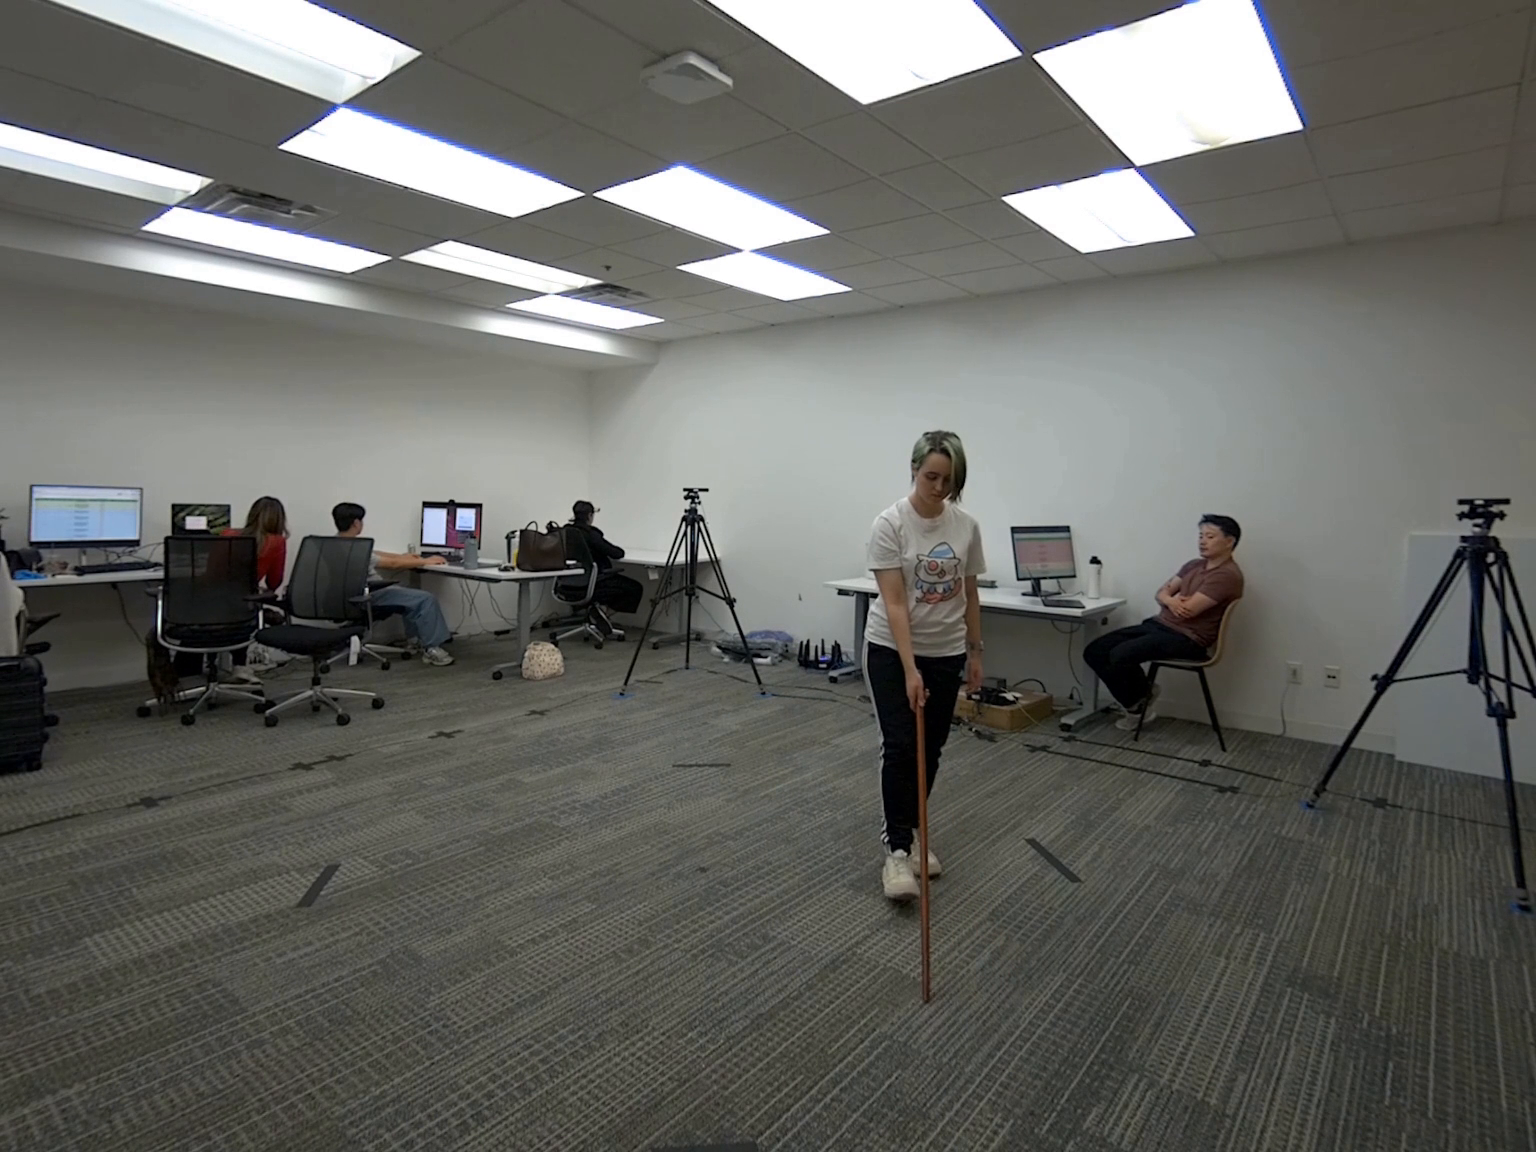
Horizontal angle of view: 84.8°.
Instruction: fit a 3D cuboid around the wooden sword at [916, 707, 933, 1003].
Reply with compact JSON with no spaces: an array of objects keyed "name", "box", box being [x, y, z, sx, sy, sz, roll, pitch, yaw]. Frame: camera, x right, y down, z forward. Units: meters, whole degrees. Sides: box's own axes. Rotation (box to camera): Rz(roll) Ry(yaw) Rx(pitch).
[{"name":"wooden sword","box":[0.491,0.757,2.638,0.052,1.049,0.023,-14,-41,24]}]
